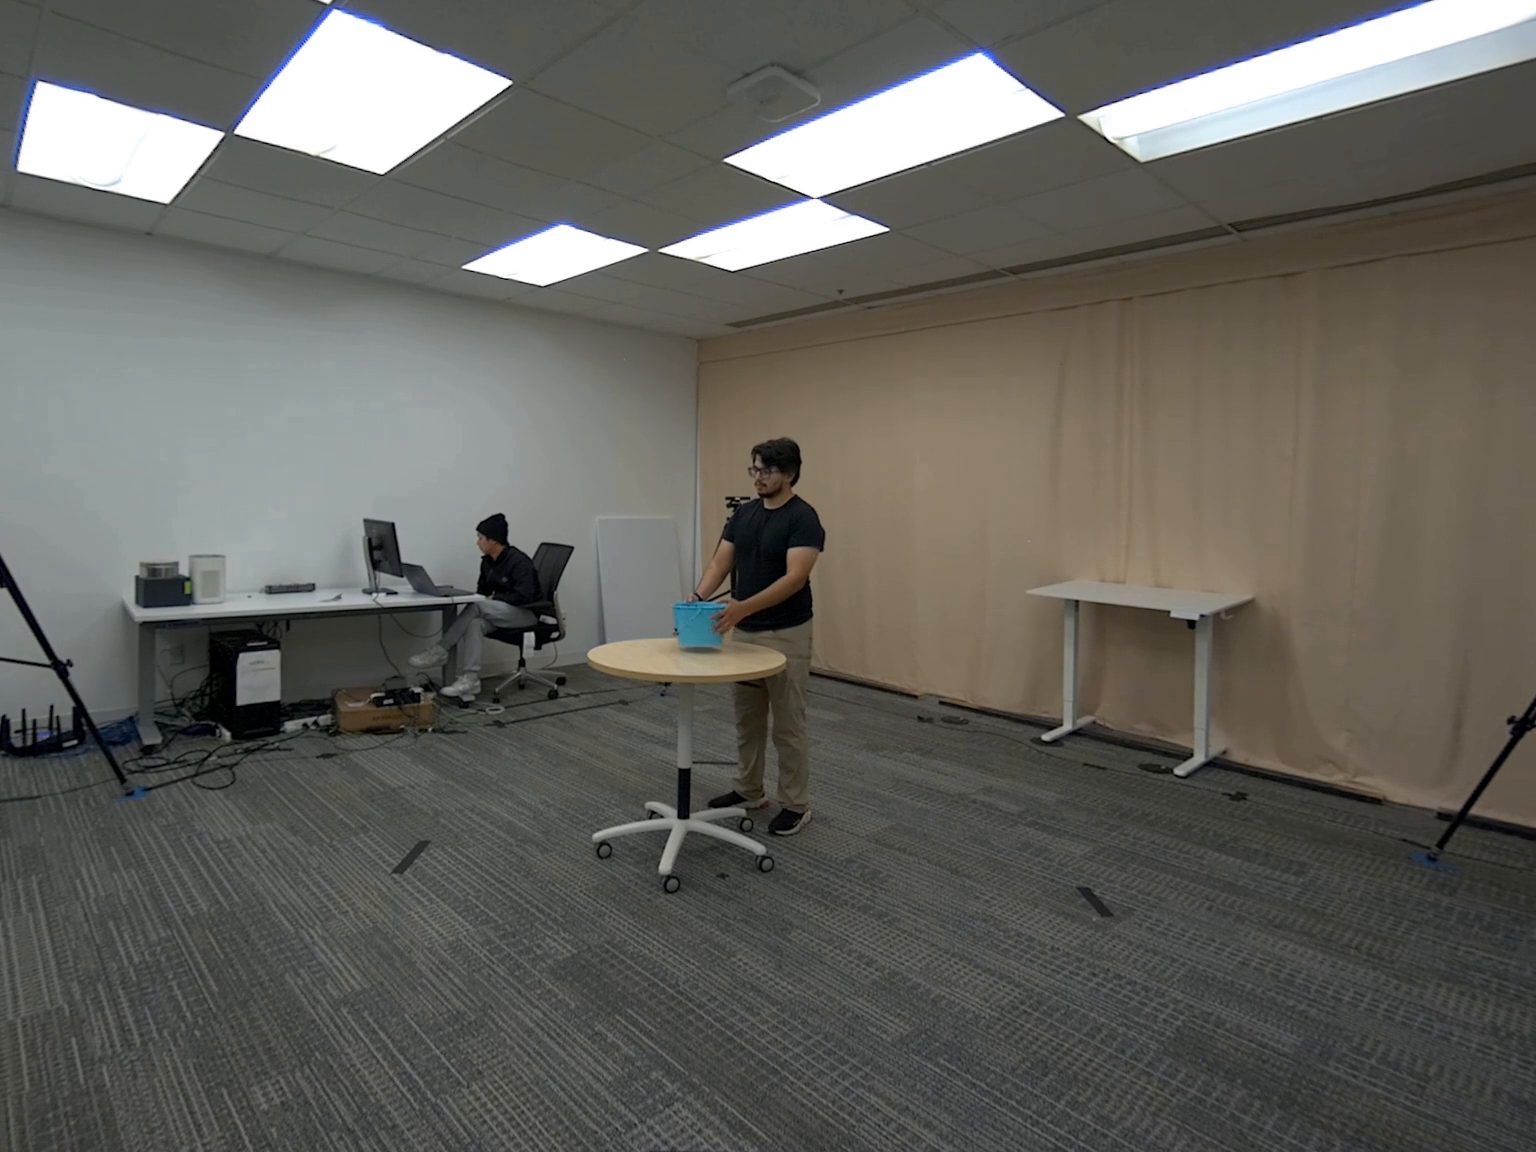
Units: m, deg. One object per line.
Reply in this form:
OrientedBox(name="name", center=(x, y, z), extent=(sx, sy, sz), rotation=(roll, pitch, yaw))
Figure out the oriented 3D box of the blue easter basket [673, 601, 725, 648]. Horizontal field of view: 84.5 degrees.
OrientedBox(name="blue easter basket", center=(-0.289, 0.196, 3.366), extent=(0.243, 0.156, 0.244), rotation=(1, 2, -1))
